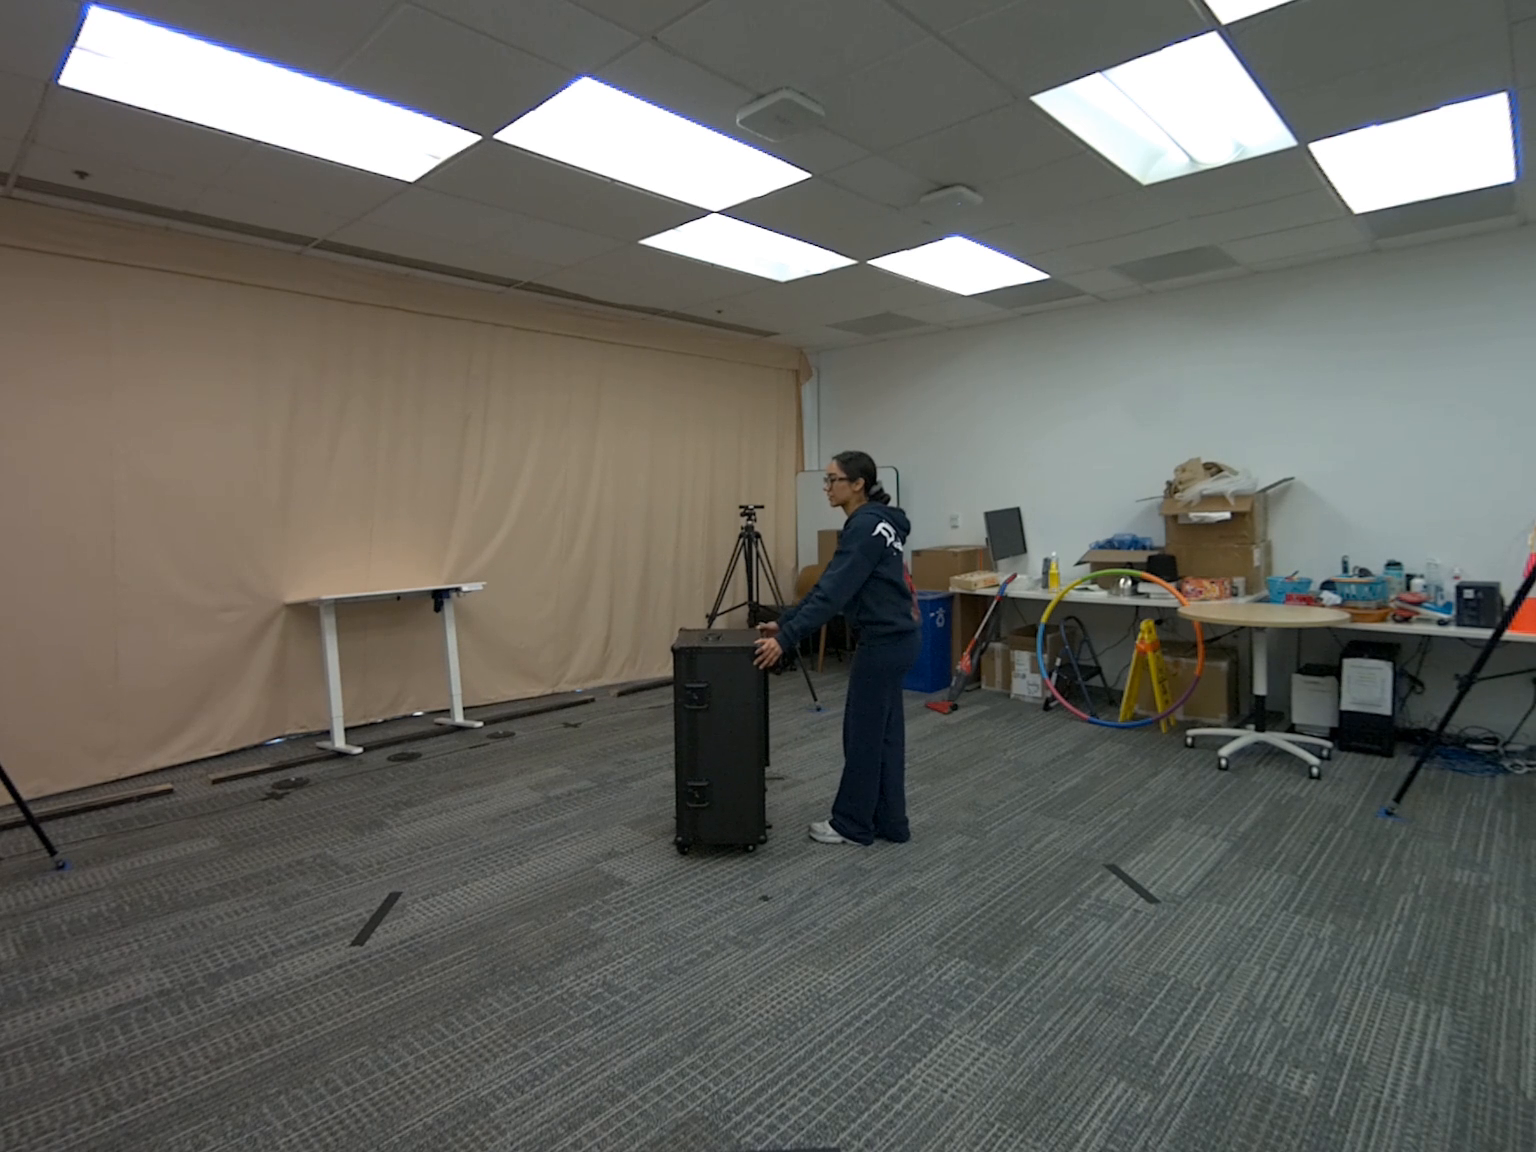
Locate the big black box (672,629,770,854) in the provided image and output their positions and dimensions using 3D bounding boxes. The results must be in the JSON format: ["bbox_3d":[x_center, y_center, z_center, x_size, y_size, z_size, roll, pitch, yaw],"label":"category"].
[{"bbox_3d":[-0.185,0.678,3.515,0.396,0.860,0.522,1,2,-1],"label":"big black box"}]
